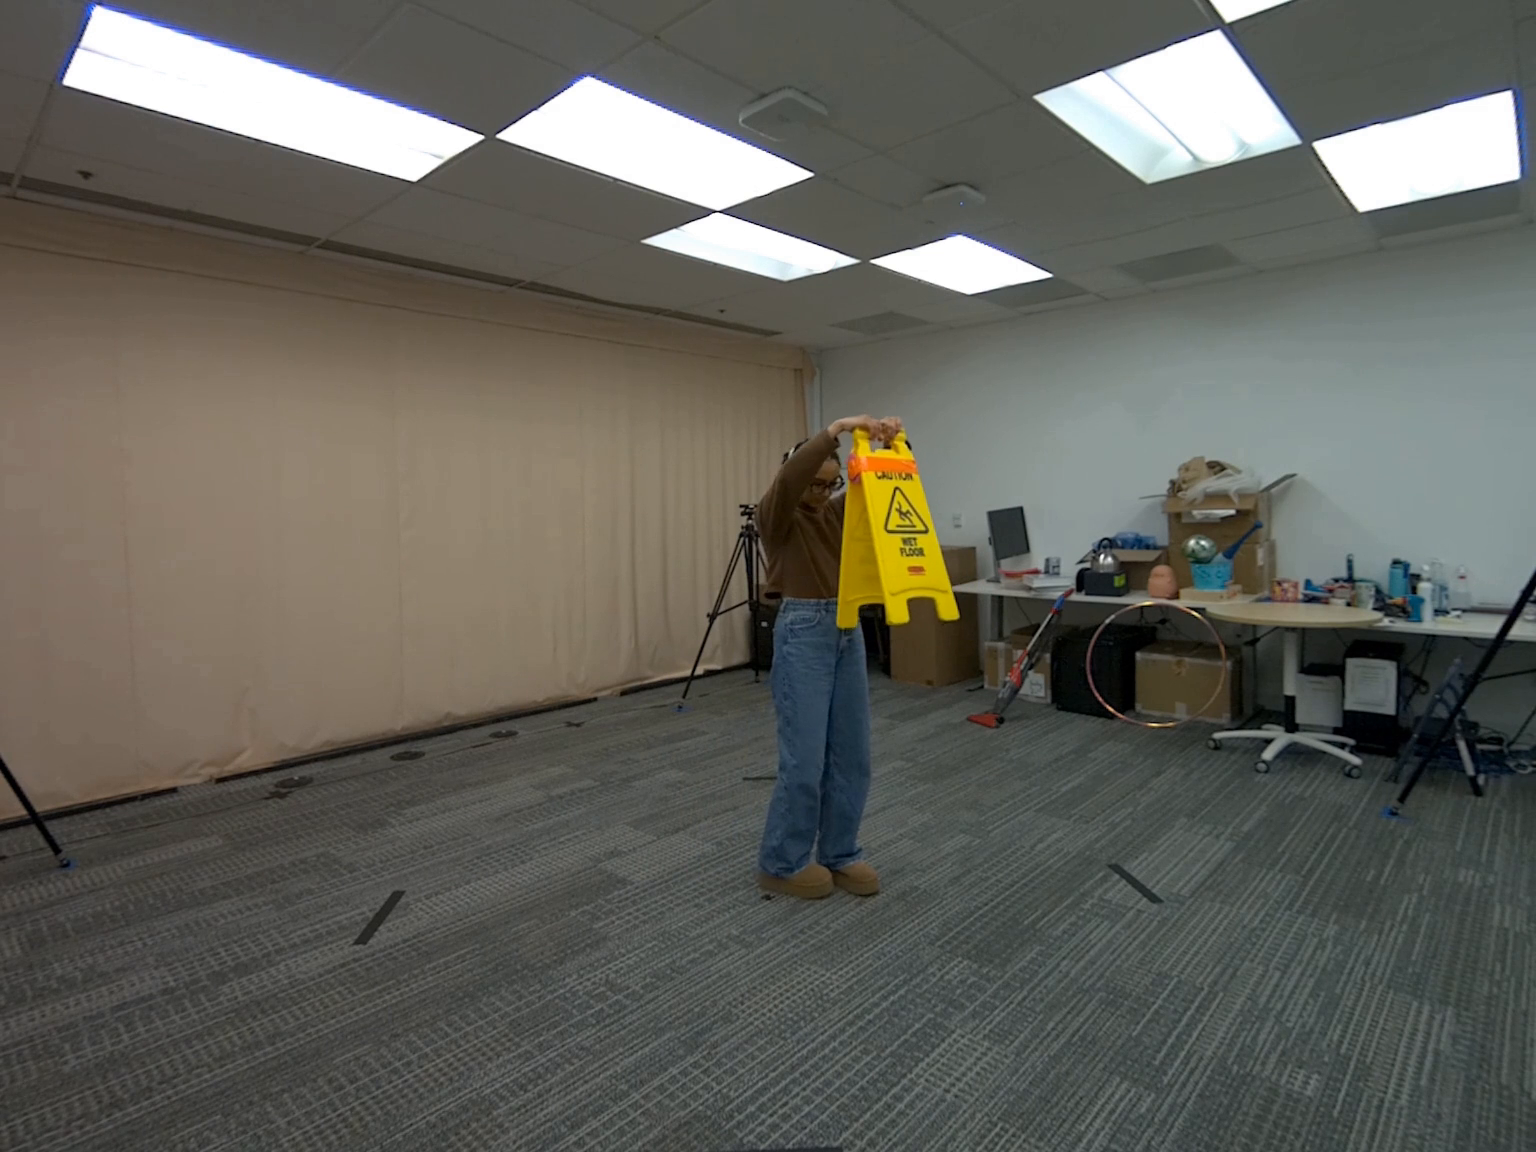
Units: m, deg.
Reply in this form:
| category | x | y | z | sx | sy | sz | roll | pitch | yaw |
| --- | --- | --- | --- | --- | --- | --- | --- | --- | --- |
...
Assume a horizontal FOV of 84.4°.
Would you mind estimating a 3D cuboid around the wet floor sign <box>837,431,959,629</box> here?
| category | x | y | z | sx | sy | sz | roll | pitch | yaw |
| --- | --- | --- | --- | --- | --- | --- | --- | --- | --- |
| wet floor sign | 0.392 | -0.163 | 2.724 | 0.275 | 0.649 | 0.296 | -1 | -7 | -29 |
